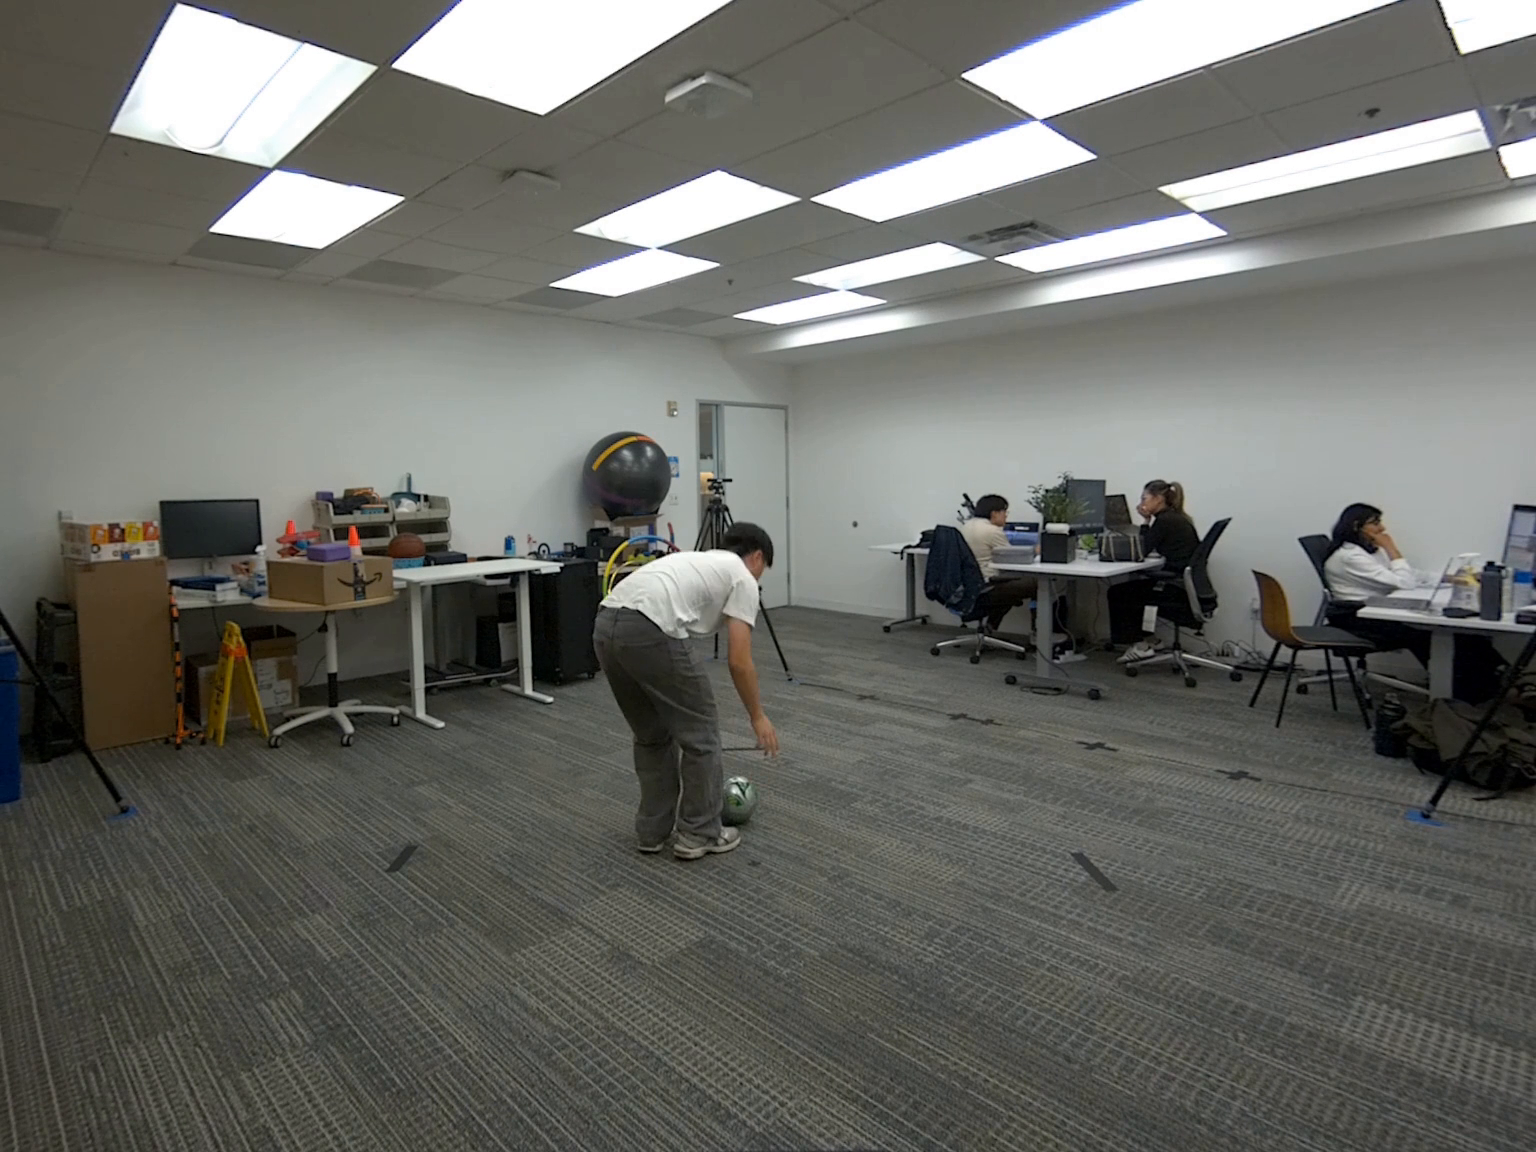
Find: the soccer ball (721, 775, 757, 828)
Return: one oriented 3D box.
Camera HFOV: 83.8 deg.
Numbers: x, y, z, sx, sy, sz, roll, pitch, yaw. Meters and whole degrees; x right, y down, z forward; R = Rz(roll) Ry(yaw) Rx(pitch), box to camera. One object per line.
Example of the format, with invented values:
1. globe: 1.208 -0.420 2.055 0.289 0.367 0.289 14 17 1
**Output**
1. soccer ball: -0.128 0.912 3.492 0.187 0.187 0.188 -1 5 -2
